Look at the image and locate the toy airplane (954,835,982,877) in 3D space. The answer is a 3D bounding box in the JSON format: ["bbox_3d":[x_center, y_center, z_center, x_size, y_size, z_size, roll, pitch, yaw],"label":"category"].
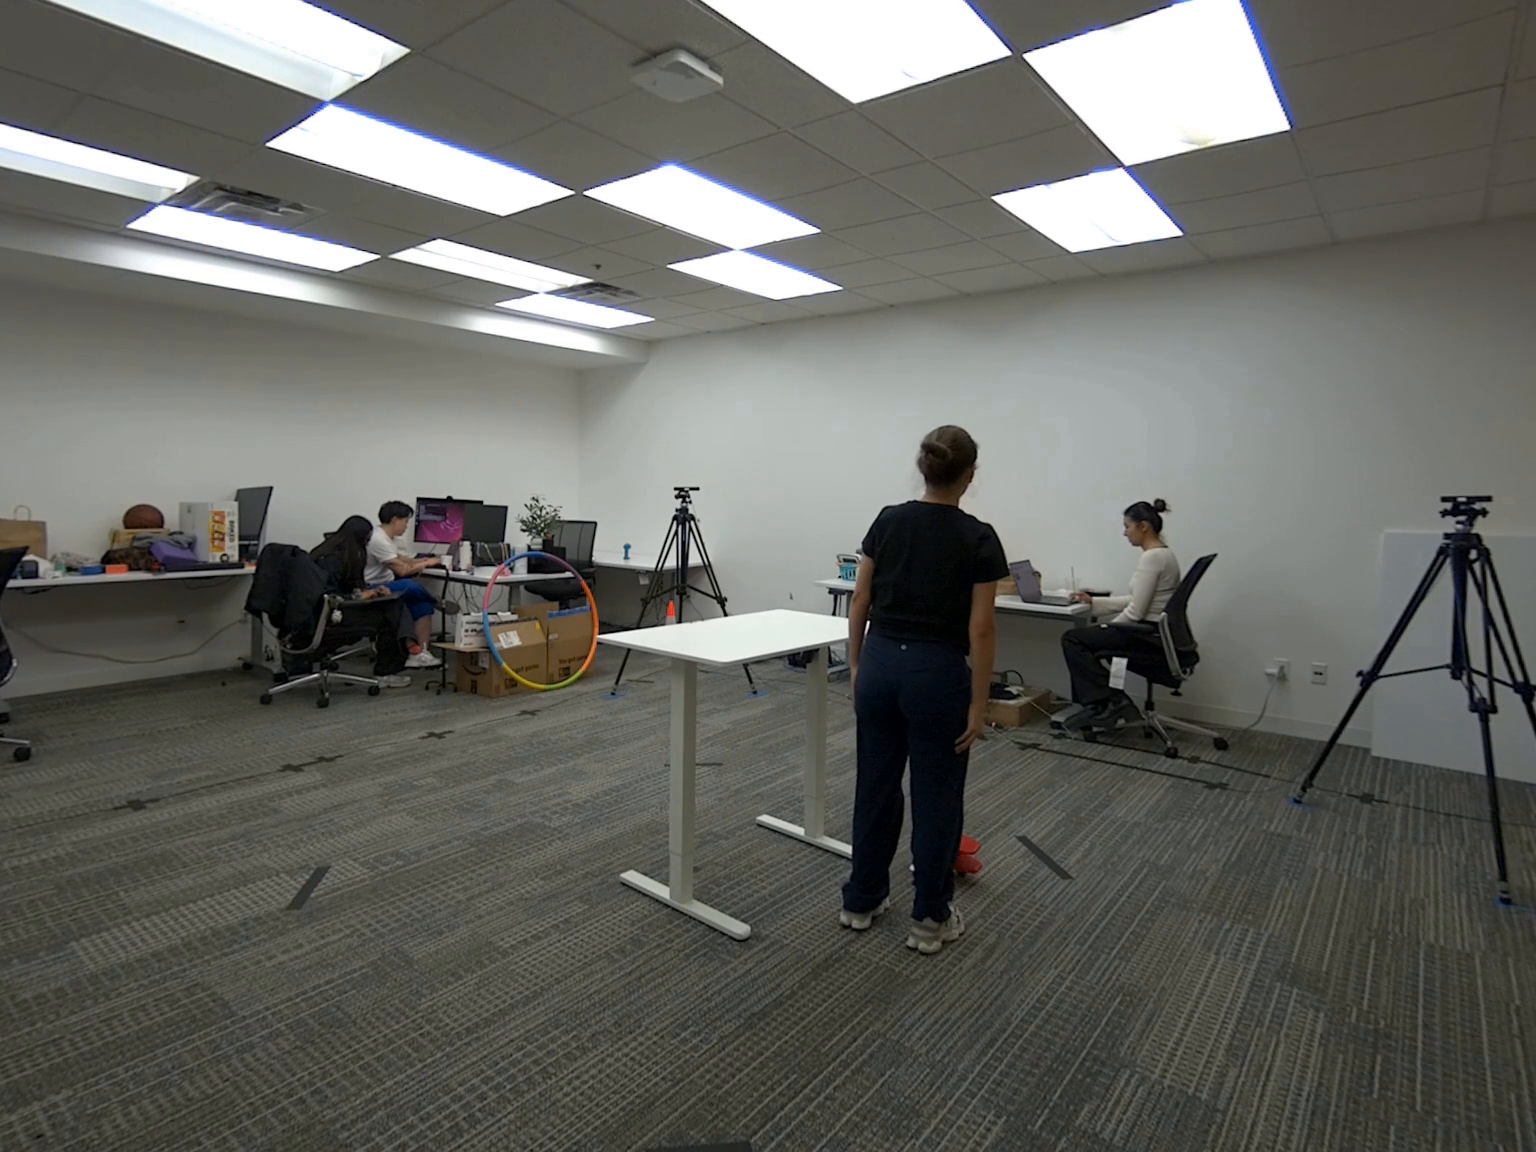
[{"bbox_3d":[0.667,1.009,3.060,0.255,0.156,0.256,3,4,14],"label":"toy airplane"}]
